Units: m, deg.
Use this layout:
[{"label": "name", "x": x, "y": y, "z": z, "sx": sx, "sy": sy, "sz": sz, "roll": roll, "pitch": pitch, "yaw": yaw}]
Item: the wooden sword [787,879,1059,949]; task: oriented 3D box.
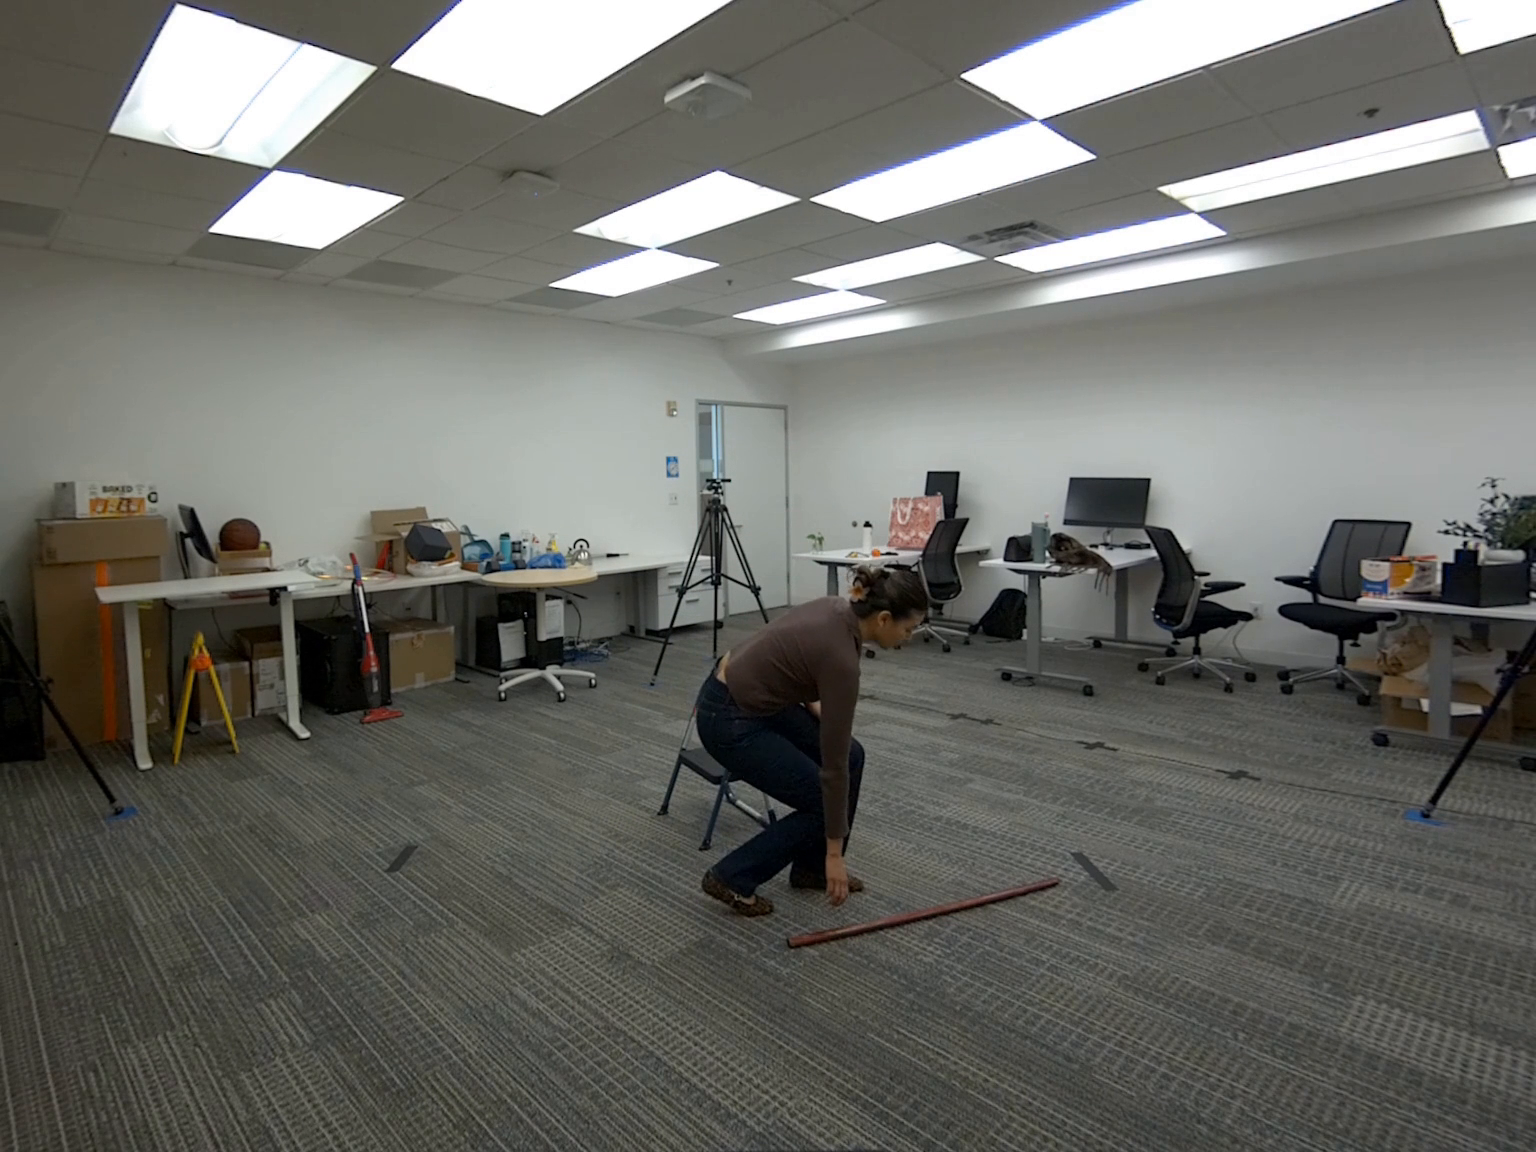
[{"label": "wooden sword", "x": 0.528, "y": 1.057, "z": 2.725, "sx": 1.006, "sy": 0.024, "sz": 0.052, "roll": -3, "pitch": -8, "yaw": -21}]
